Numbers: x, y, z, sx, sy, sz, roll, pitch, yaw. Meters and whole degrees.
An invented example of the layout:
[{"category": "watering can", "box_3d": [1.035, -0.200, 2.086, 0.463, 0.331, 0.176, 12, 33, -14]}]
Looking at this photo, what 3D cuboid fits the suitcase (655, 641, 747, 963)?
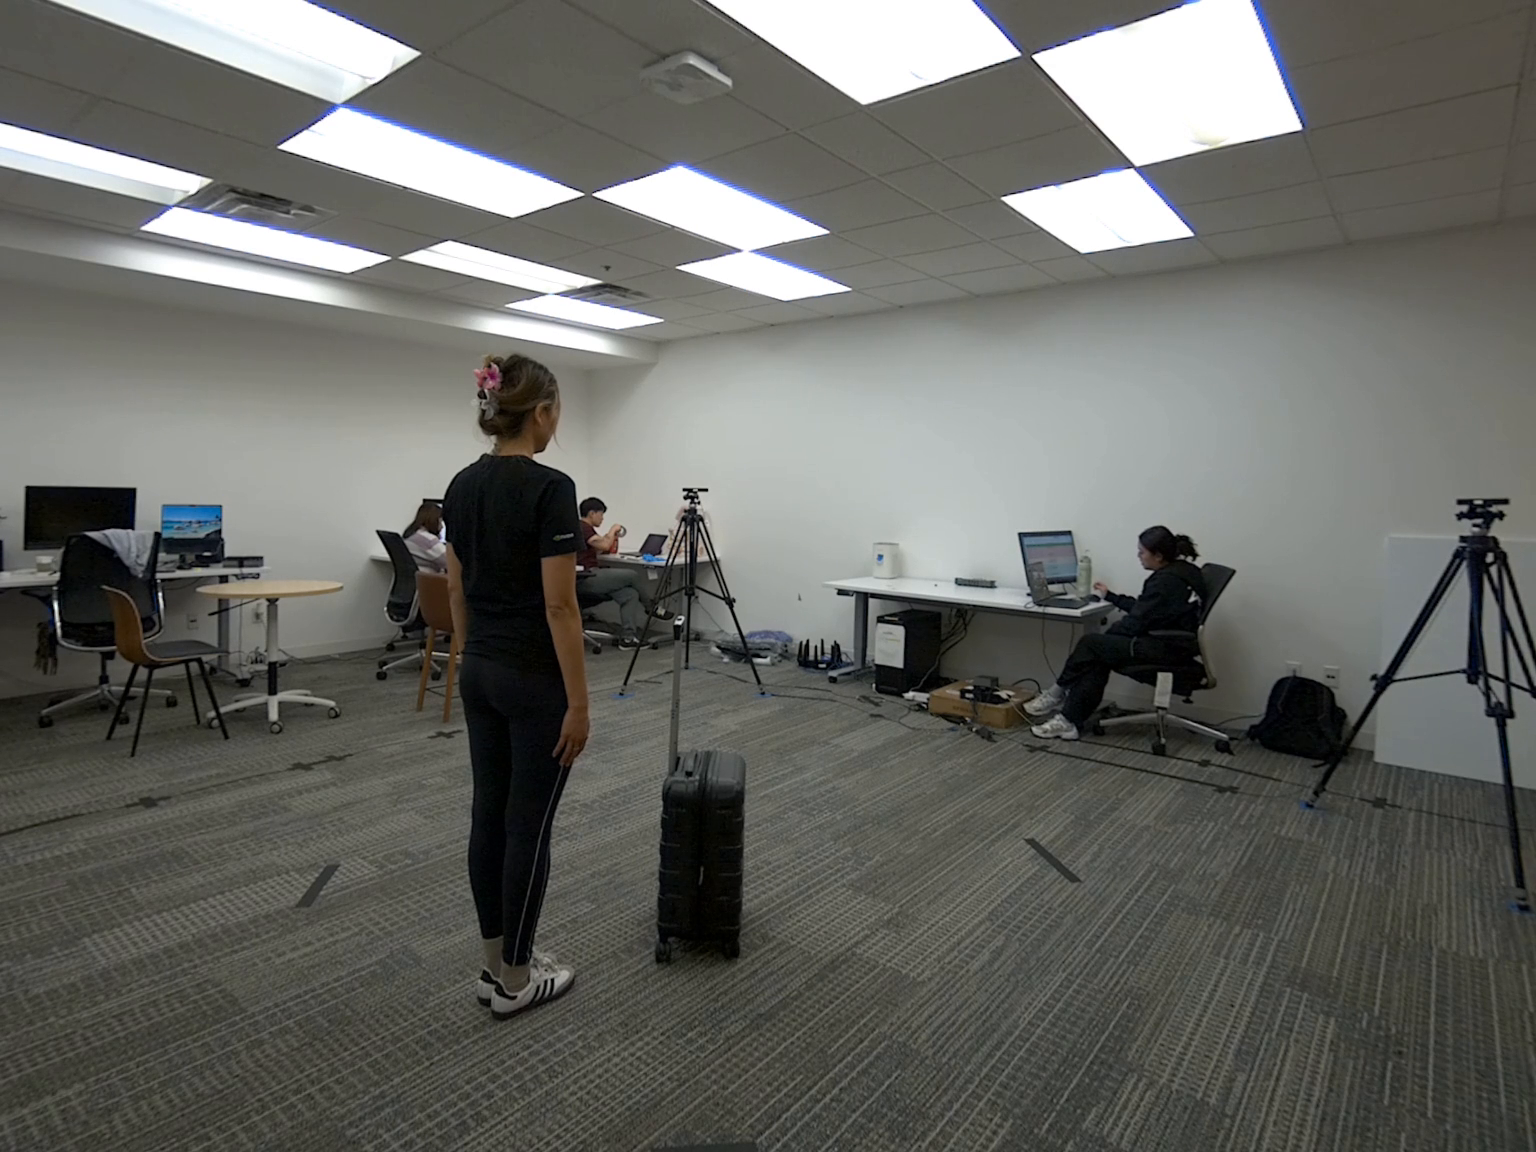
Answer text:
[{"category": "suitcase", "box_3d": [-0.197, 0.637, 2.639, 0.257, 0.976, 0.386, 3, 3, -3]}]
